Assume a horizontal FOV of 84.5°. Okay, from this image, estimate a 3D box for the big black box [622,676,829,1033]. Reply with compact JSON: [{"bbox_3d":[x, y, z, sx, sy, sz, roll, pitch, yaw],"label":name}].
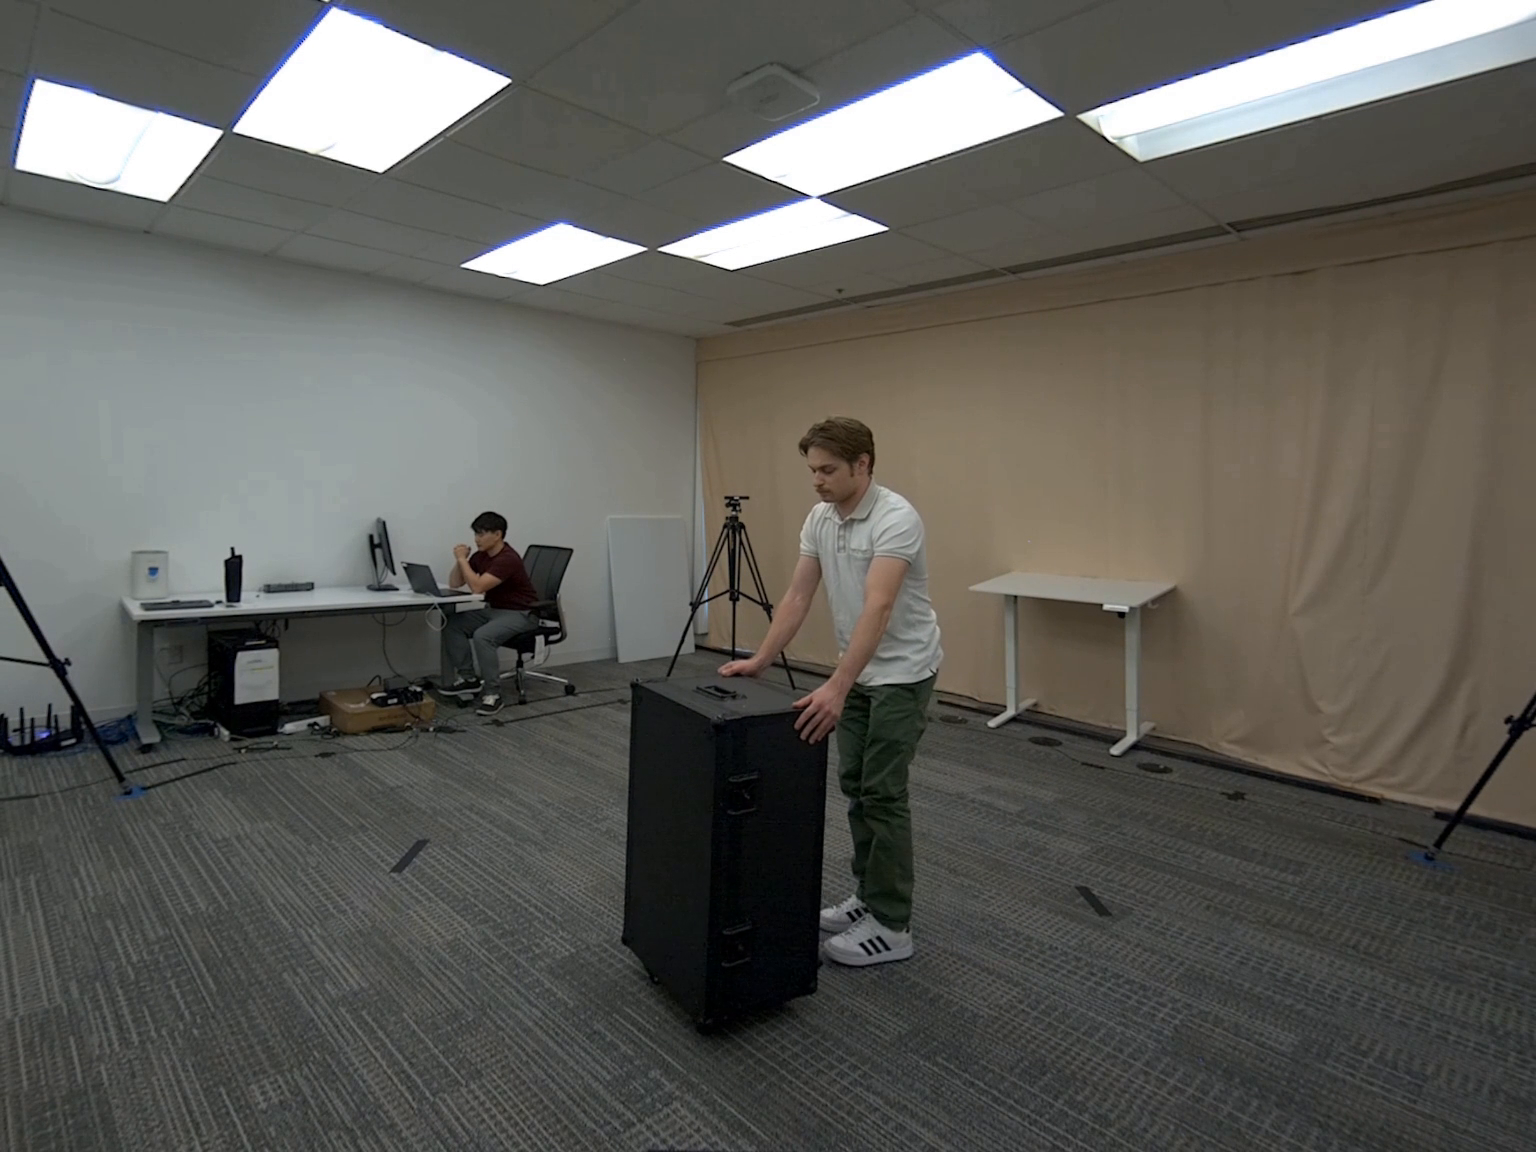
[{"bbox_3d":[-0.133,0.752,2.359,0.387,0.860,0.534,1,3,-34],"label":"big black box"}]
